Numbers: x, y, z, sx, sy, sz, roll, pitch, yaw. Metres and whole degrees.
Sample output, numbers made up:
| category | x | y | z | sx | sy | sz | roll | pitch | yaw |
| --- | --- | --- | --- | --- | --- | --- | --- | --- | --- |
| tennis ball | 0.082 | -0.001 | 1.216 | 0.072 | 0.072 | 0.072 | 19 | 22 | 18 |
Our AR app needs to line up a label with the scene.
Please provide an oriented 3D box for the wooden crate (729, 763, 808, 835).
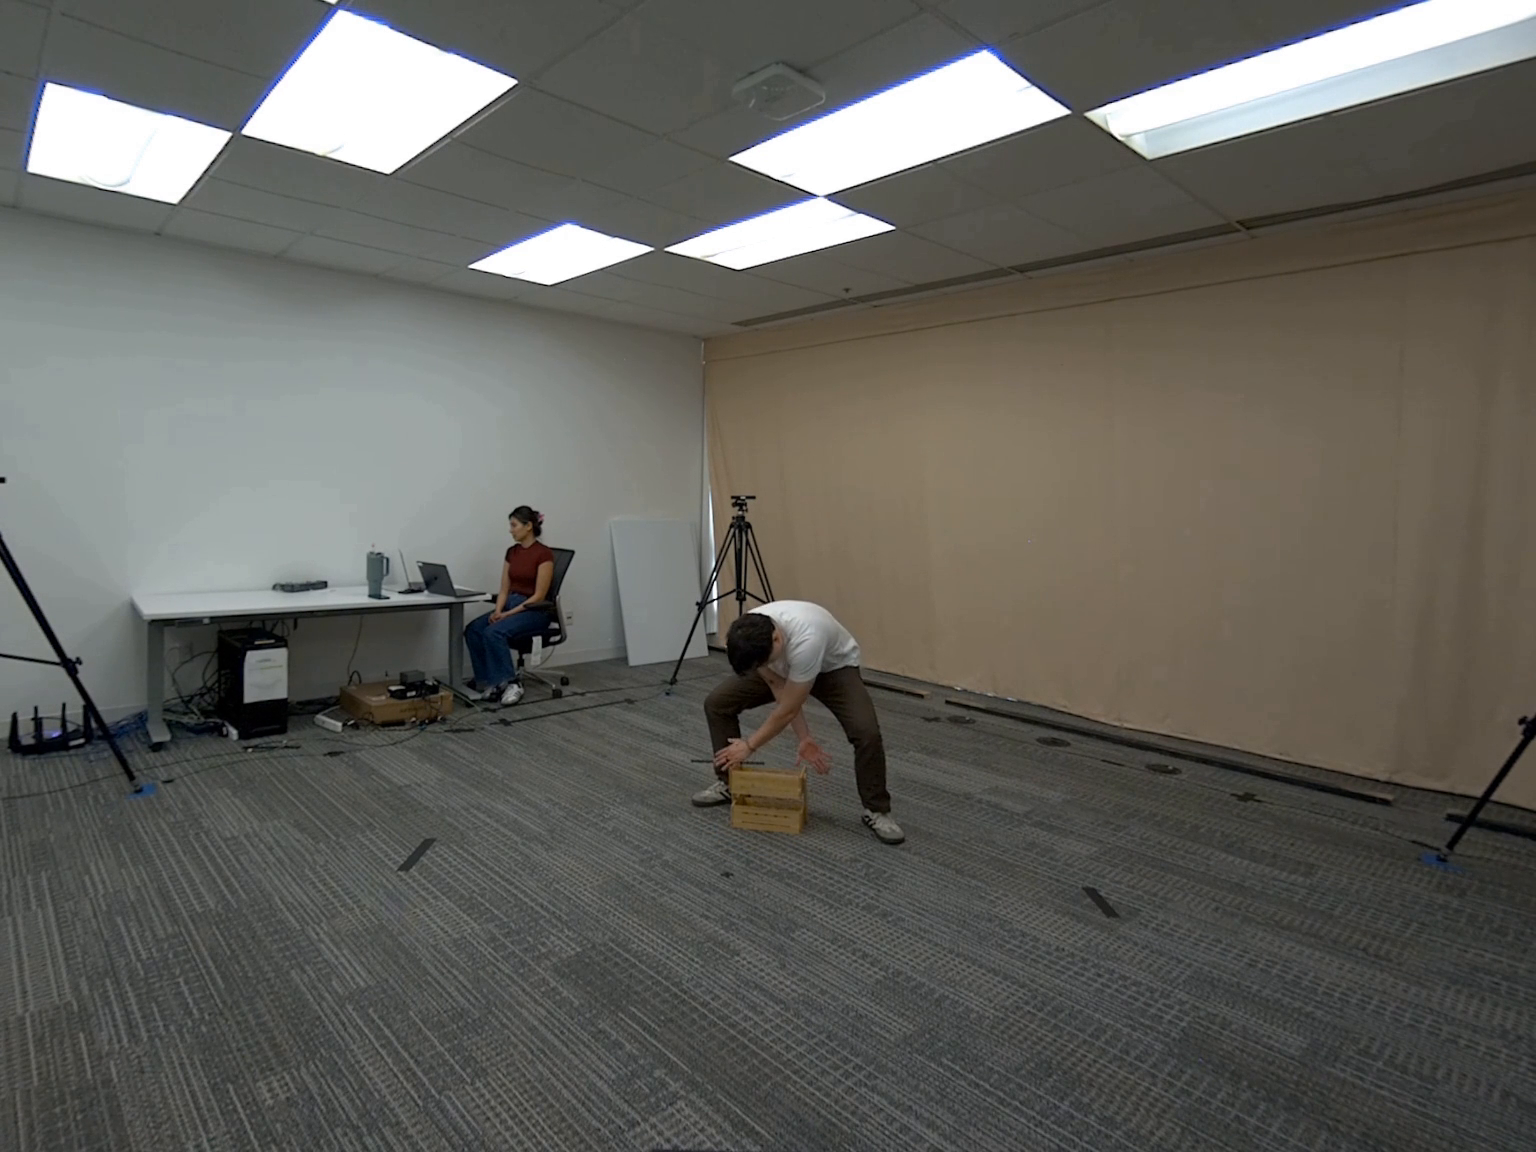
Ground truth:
| category | x | y | z | sx | sy | sz | roll | pitch | yaw |
| --- | --- | --- | --- | --- | --- | --- | --- | --- | --- |
| wooden crate | -0.001 | 0.931 | 3.622 | 0.327 | 0.273 | 0.300 | 3 | 4 | 10 |
